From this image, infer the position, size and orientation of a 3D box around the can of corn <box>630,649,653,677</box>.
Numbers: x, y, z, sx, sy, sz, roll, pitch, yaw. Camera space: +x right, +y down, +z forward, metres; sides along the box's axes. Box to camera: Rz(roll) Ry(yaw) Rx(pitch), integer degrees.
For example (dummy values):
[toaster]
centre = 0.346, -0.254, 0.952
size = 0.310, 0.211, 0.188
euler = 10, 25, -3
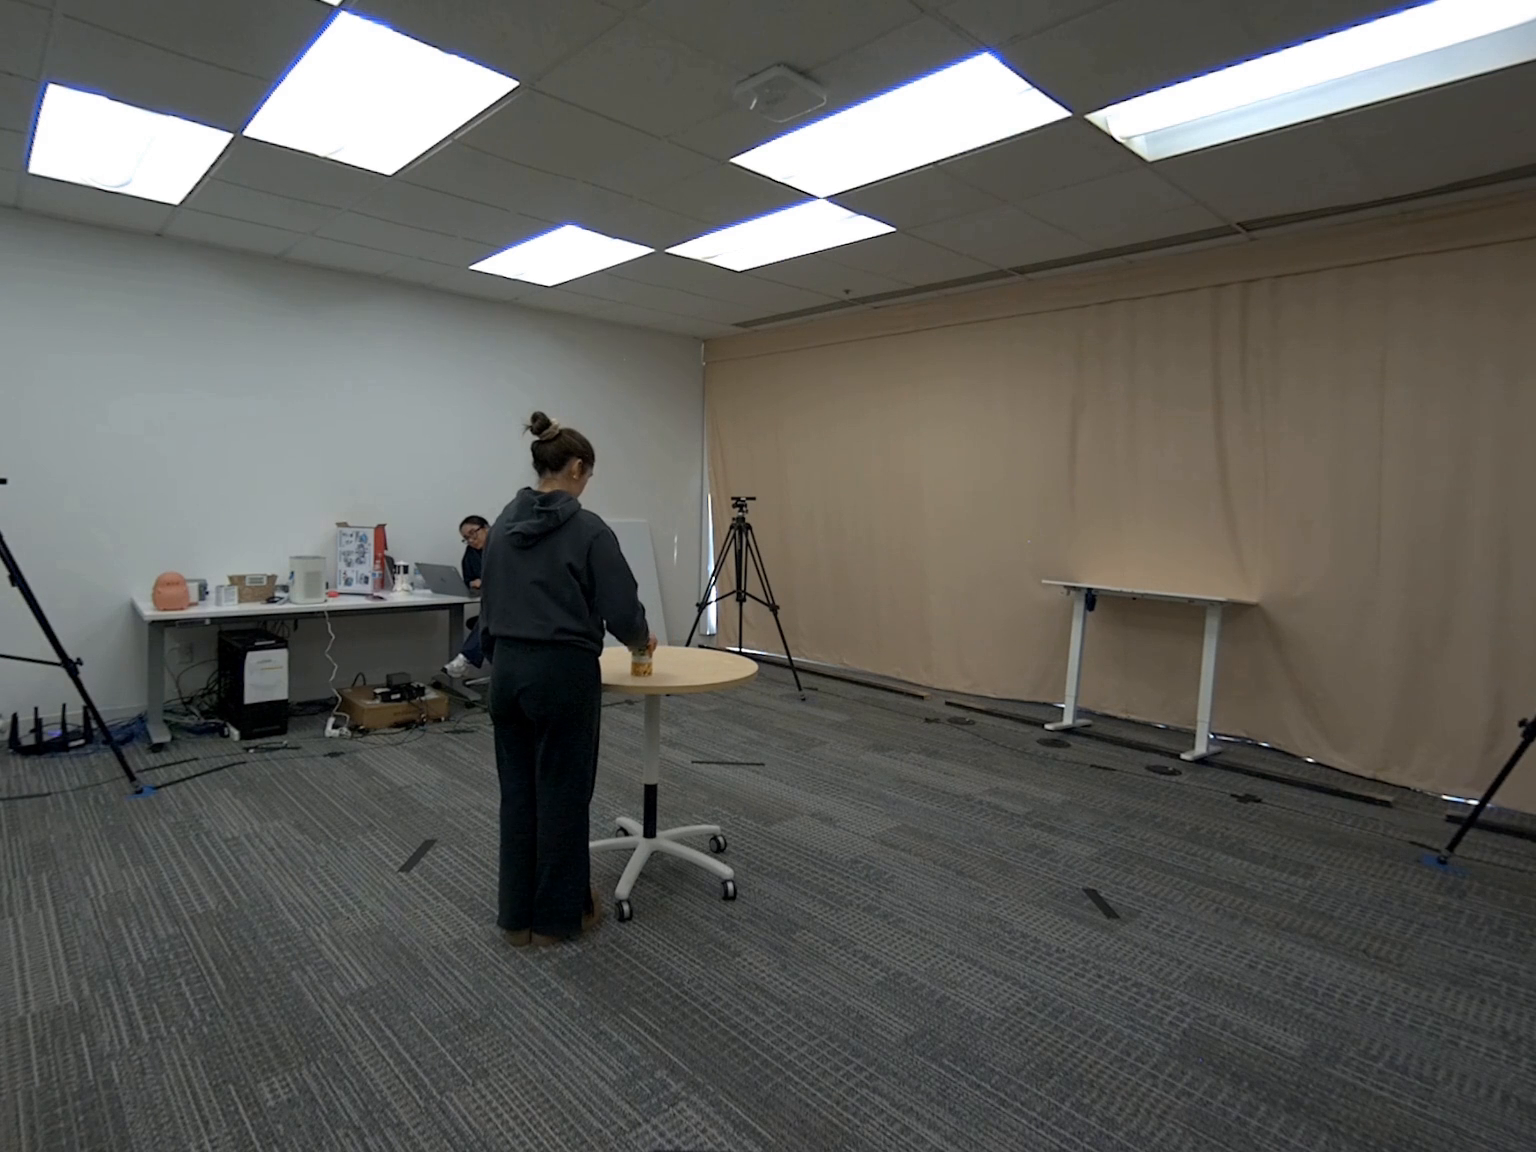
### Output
[can of corn]
centre = -0.438, 0.281, 2.877
size = 0.074, 0.110, 0.075
euler = 3, 8, -2
